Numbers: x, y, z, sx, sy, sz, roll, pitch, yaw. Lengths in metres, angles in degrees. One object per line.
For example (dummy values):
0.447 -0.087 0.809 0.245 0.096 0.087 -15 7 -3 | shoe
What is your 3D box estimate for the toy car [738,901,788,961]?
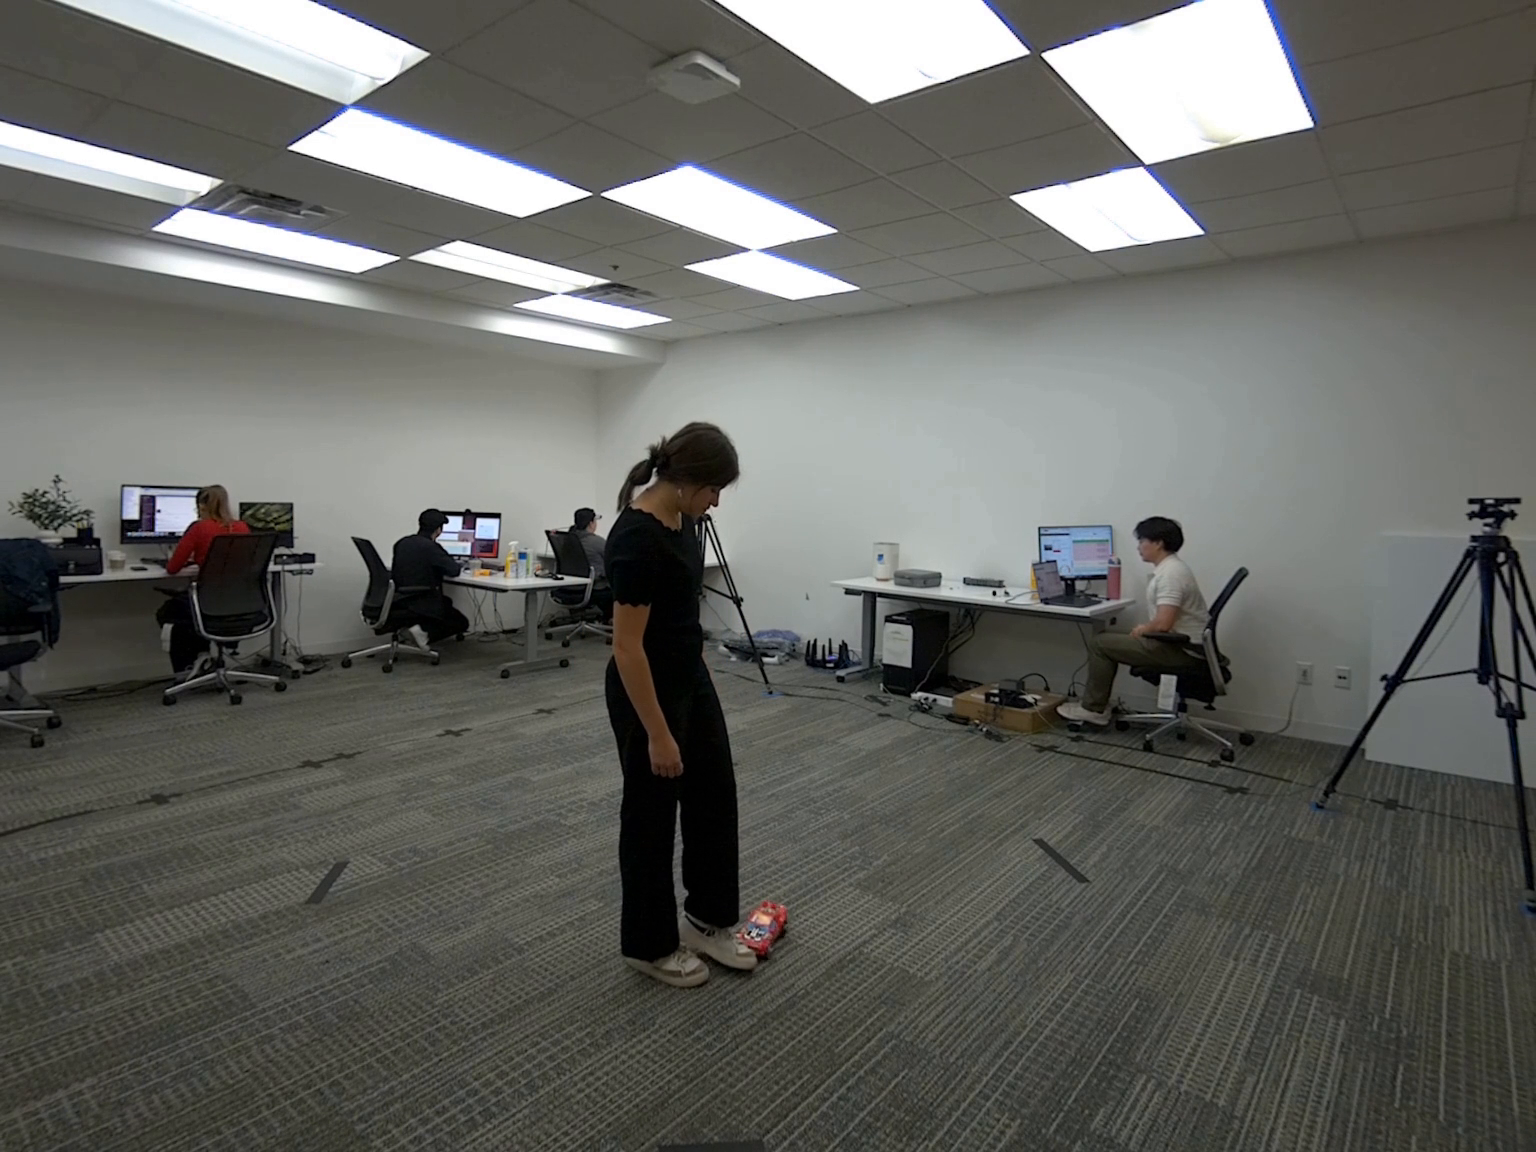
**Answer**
-0.022 1.087 2.621 0.133 0.082 0.253 4 17 20 | toy car
